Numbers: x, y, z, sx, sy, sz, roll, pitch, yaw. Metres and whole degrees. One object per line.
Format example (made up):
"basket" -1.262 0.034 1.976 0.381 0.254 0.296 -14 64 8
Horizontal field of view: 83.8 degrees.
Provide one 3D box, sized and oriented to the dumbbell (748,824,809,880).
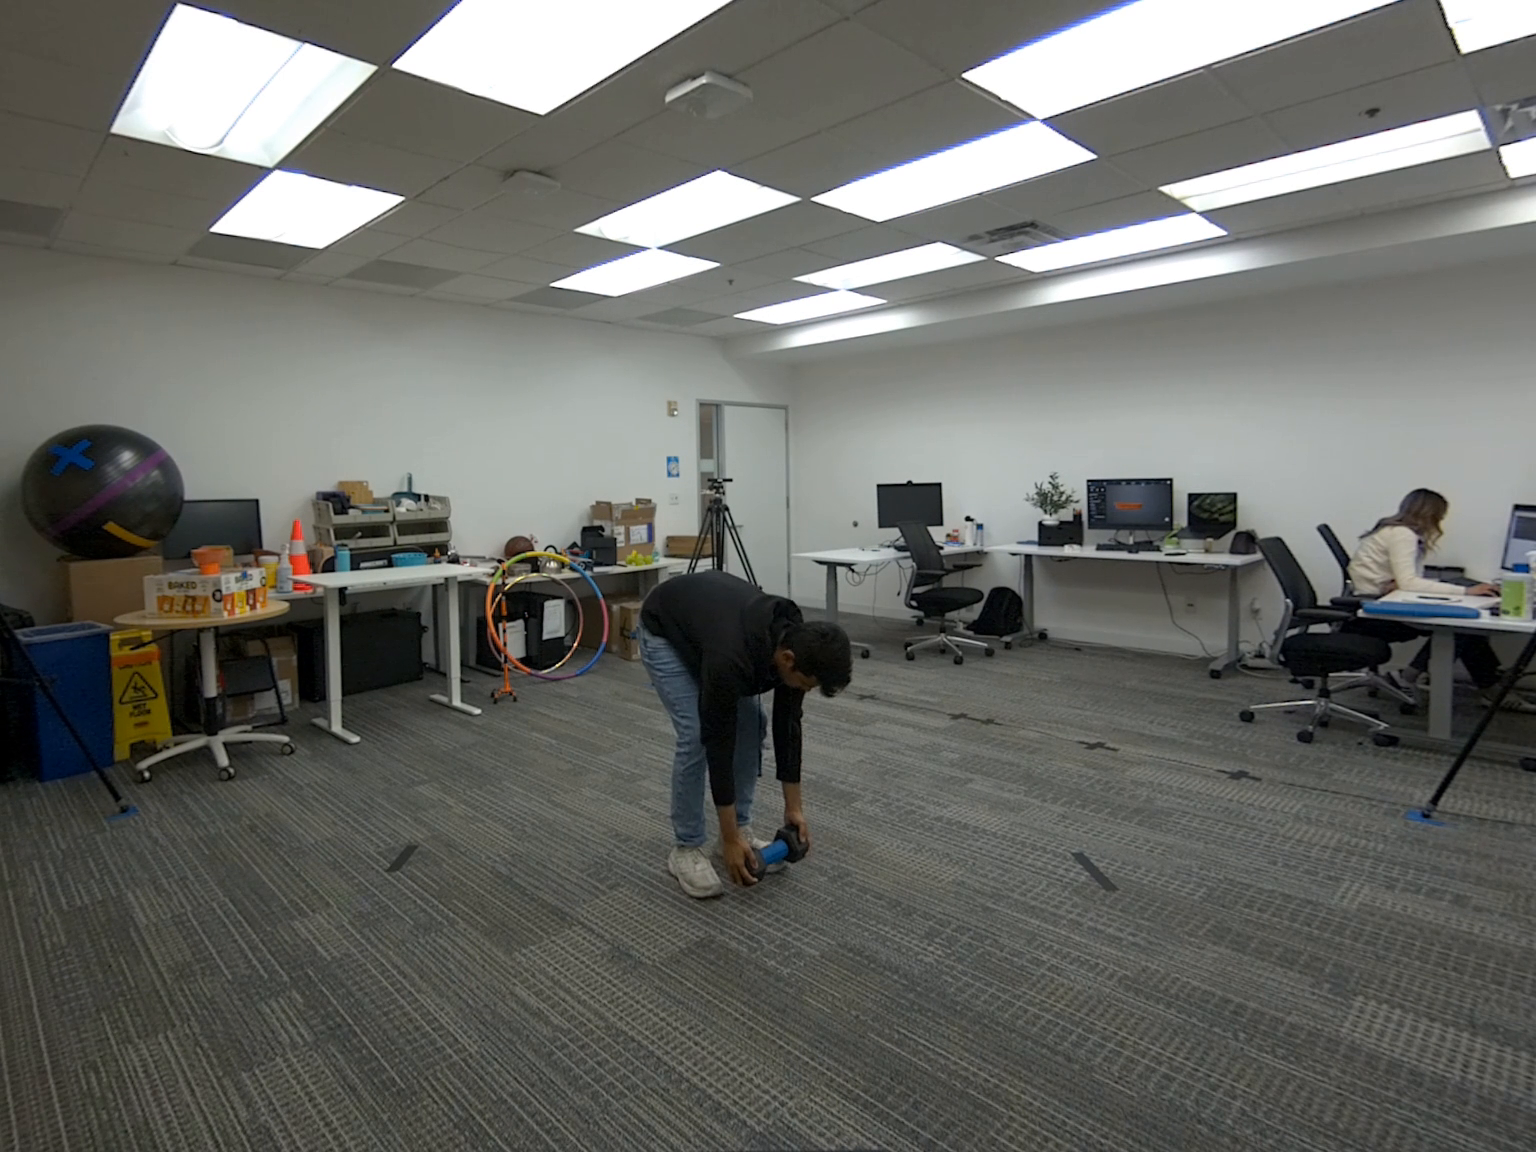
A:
"dumbbell" 0.000 0.938 2.895 0.286 0.108 0.126 -10 6 -40
